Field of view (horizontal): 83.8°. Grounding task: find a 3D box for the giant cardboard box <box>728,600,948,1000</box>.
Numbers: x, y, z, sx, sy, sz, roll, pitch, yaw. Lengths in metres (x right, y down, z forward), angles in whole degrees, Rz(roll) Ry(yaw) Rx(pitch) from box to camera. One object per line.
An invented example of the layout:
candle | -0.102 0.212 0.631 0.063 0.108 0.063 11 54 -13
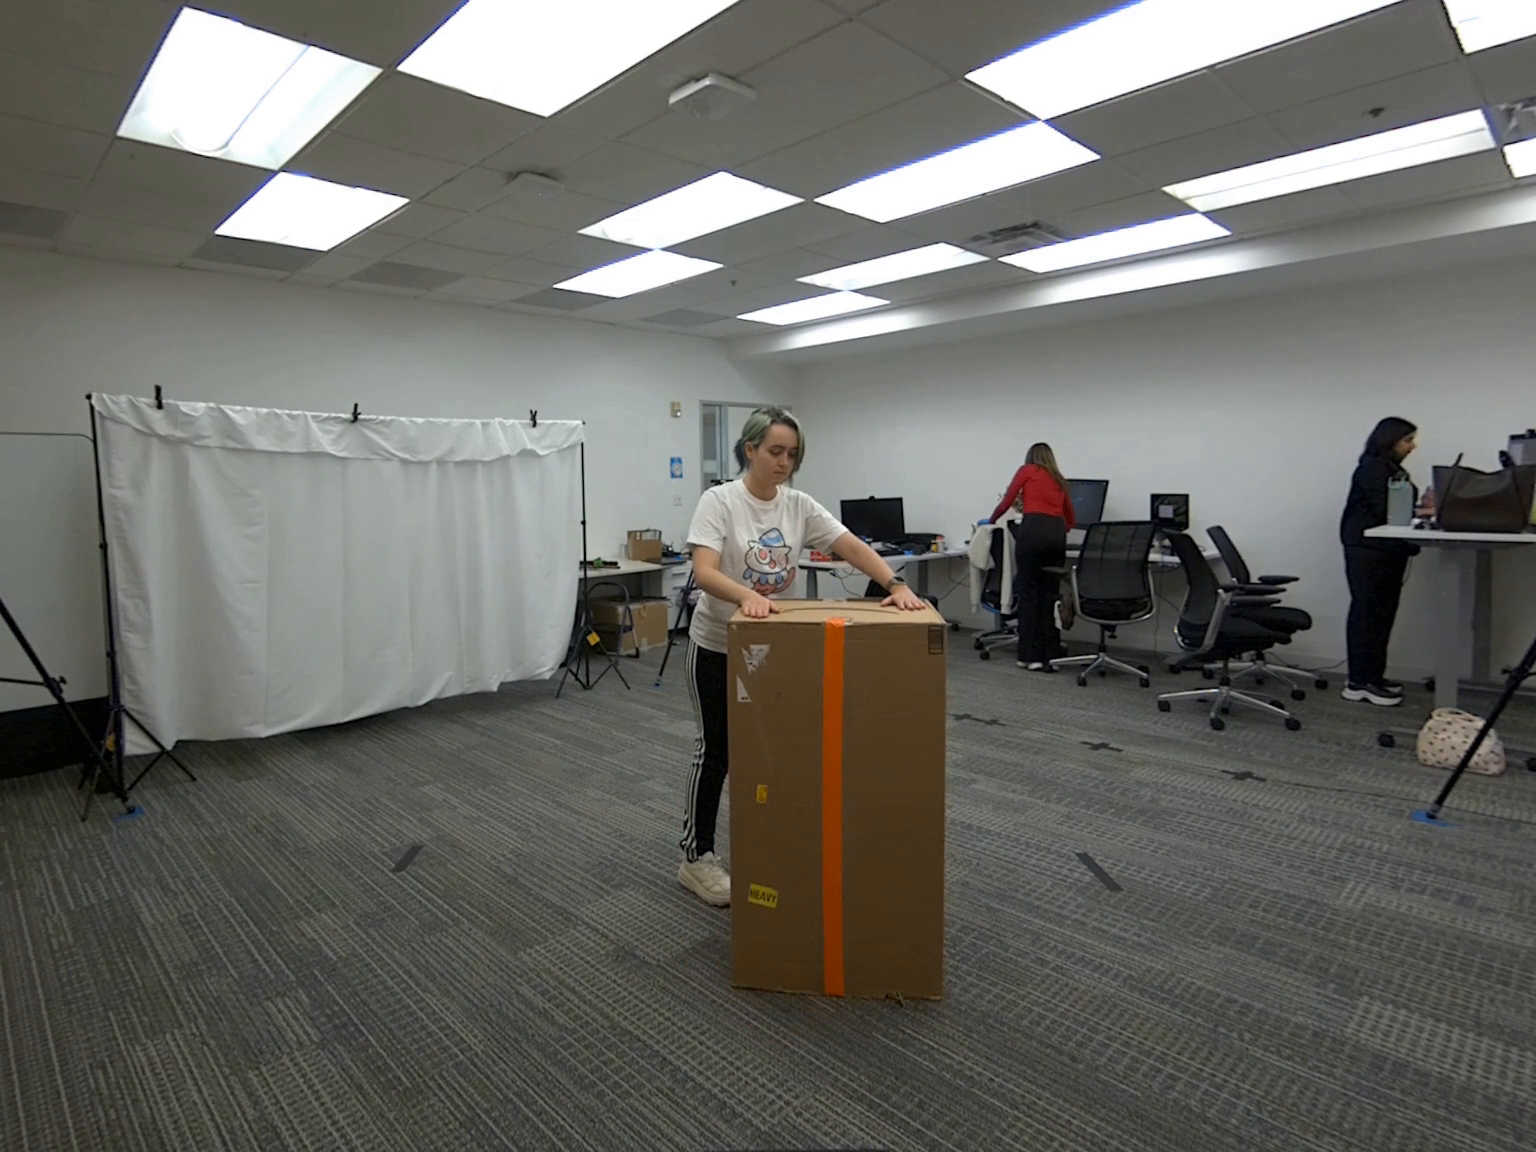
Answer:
giant cardboard box | 0.201 0.610 2.483 0.587 1.024 0.446 0 4 6
